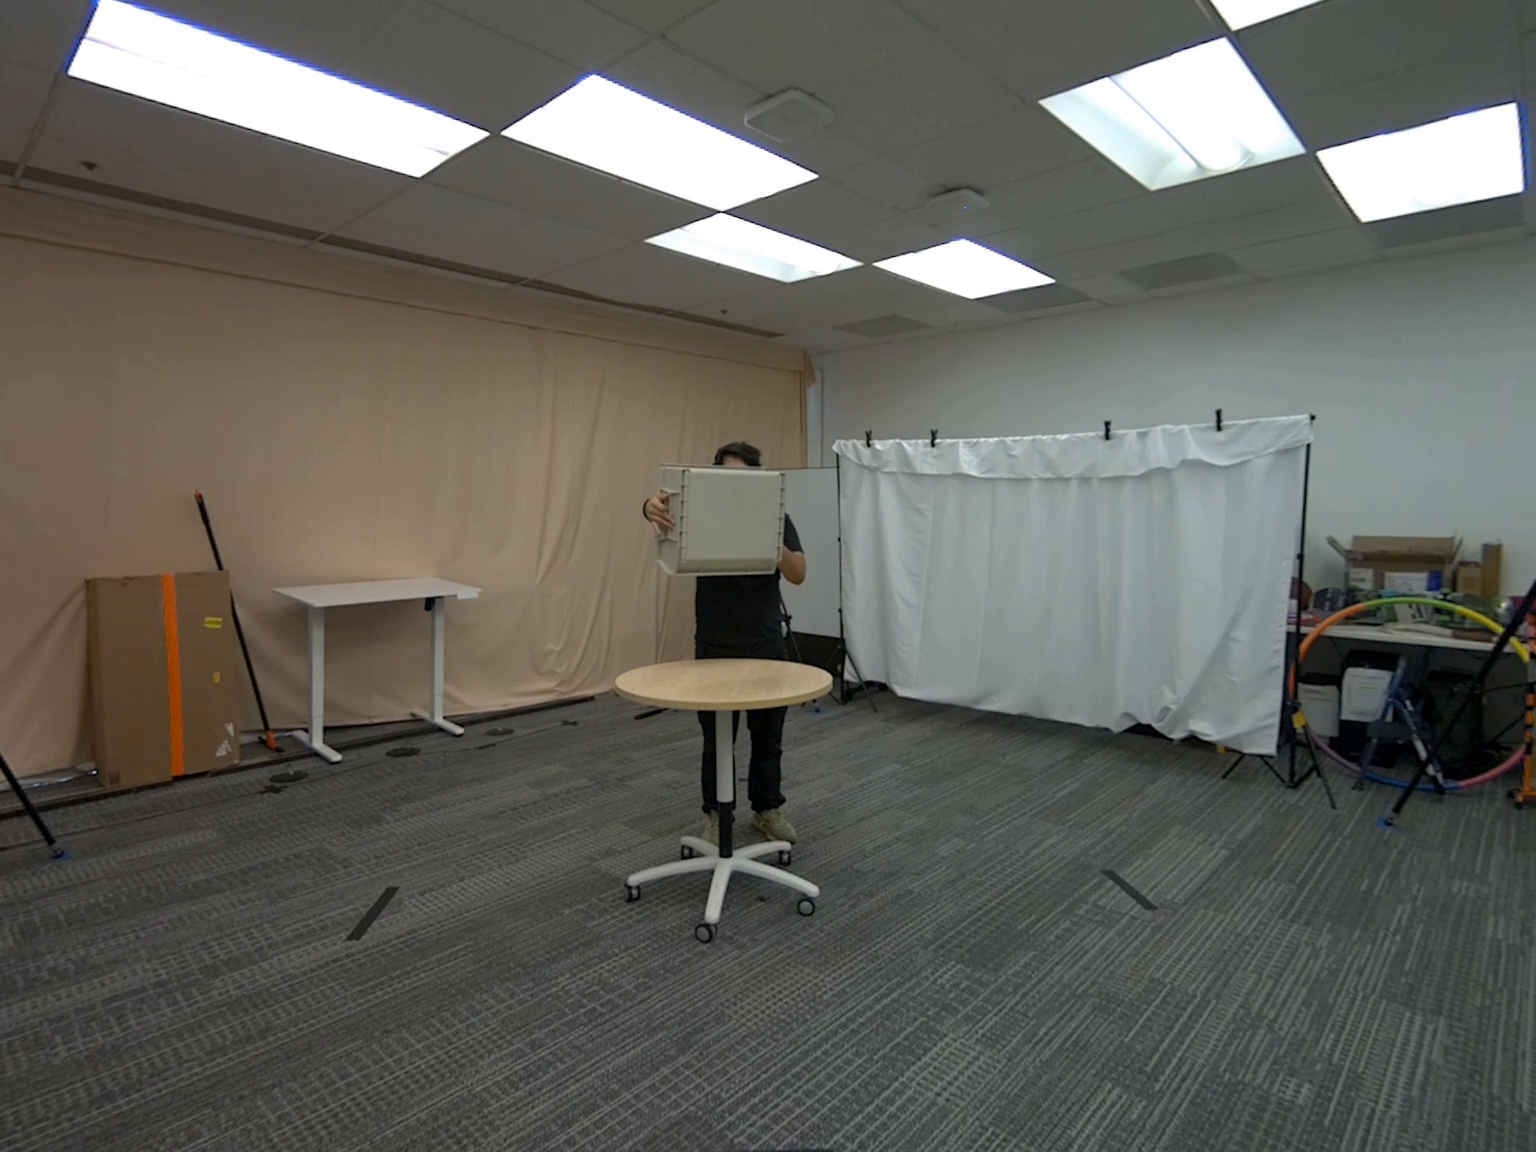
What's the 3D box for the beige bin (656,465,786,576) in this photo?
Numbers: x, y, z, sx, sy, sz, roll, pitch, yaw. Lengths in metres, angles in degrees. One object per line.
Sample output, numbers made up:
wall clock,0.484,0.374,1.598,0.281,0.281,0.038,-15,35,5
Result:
beige bin,-0.168,-0.194,2.975,0.411,0.376,0.195,0,8,-29
